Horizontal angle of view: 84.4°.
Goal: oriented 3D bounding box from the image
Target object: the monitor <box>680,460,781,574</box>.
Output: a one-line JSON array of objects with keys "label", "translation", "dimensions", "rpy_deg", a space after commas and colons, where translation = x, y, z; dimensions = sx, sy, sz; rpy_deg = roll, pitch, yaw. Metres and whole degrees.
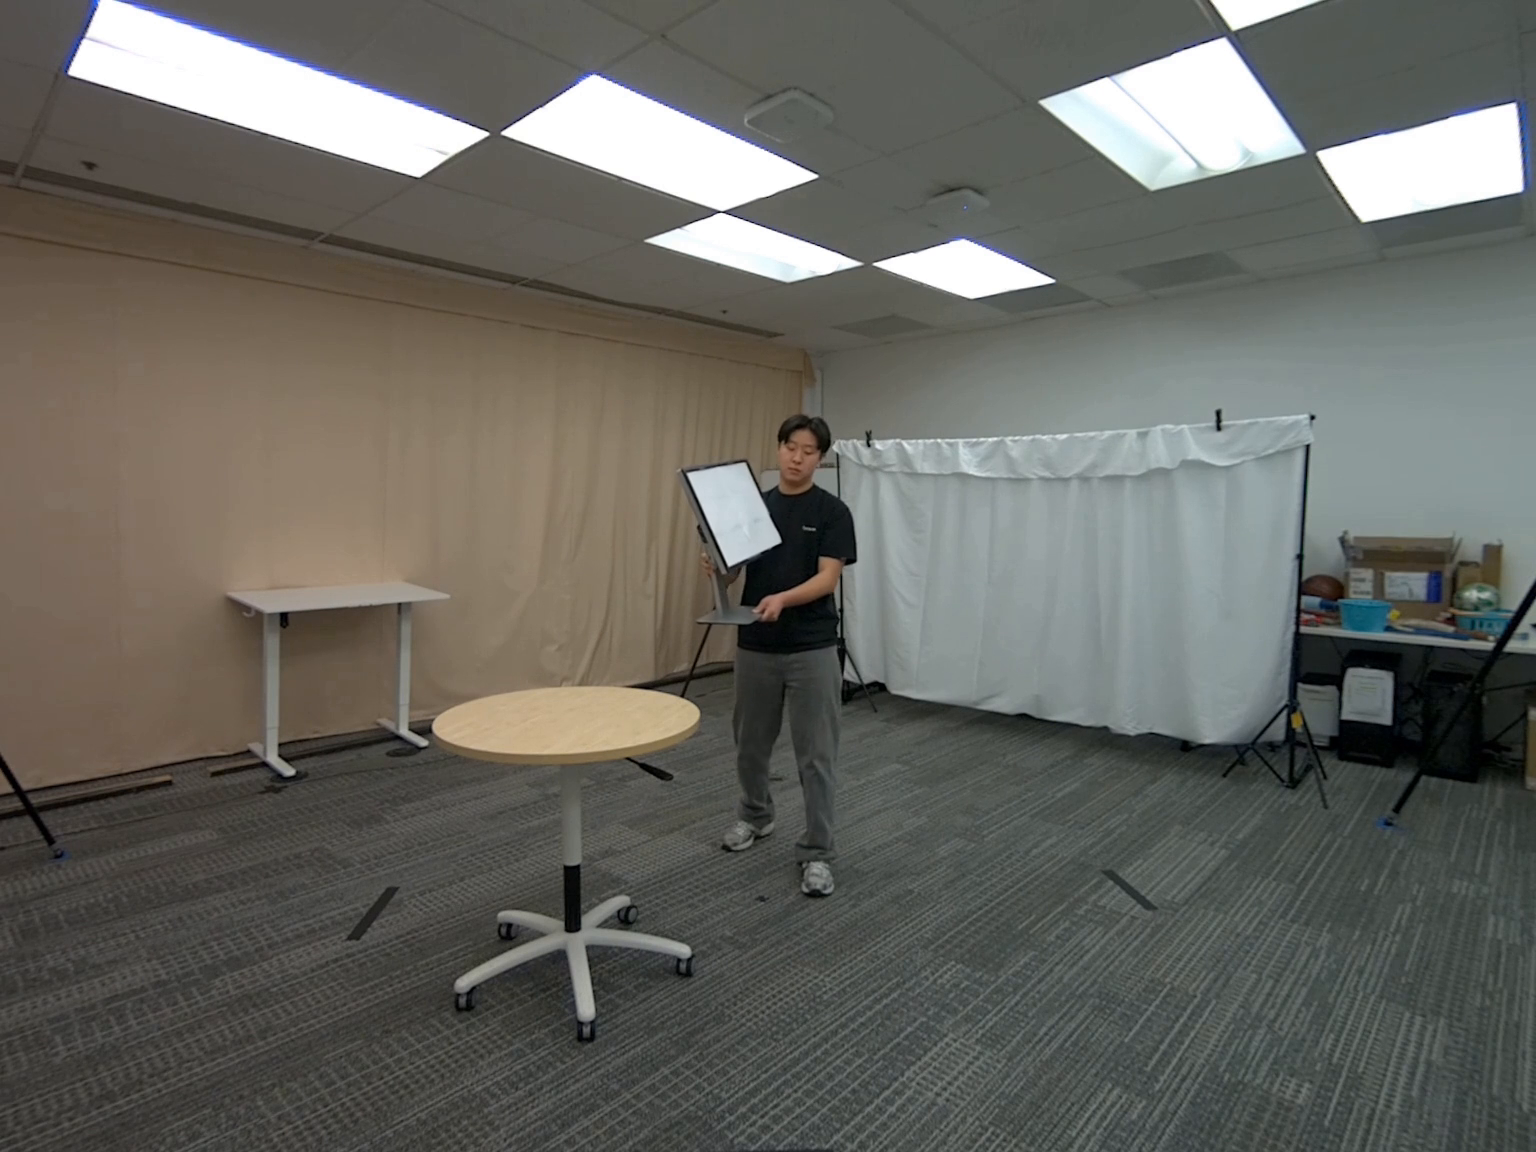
[{"label": "monitor", "translation": [-0.123, -0.118, 2.929], "dimensions": [0.227, 0.563, 0.552], "rpy_deg": [-5, 8, 25]}]
